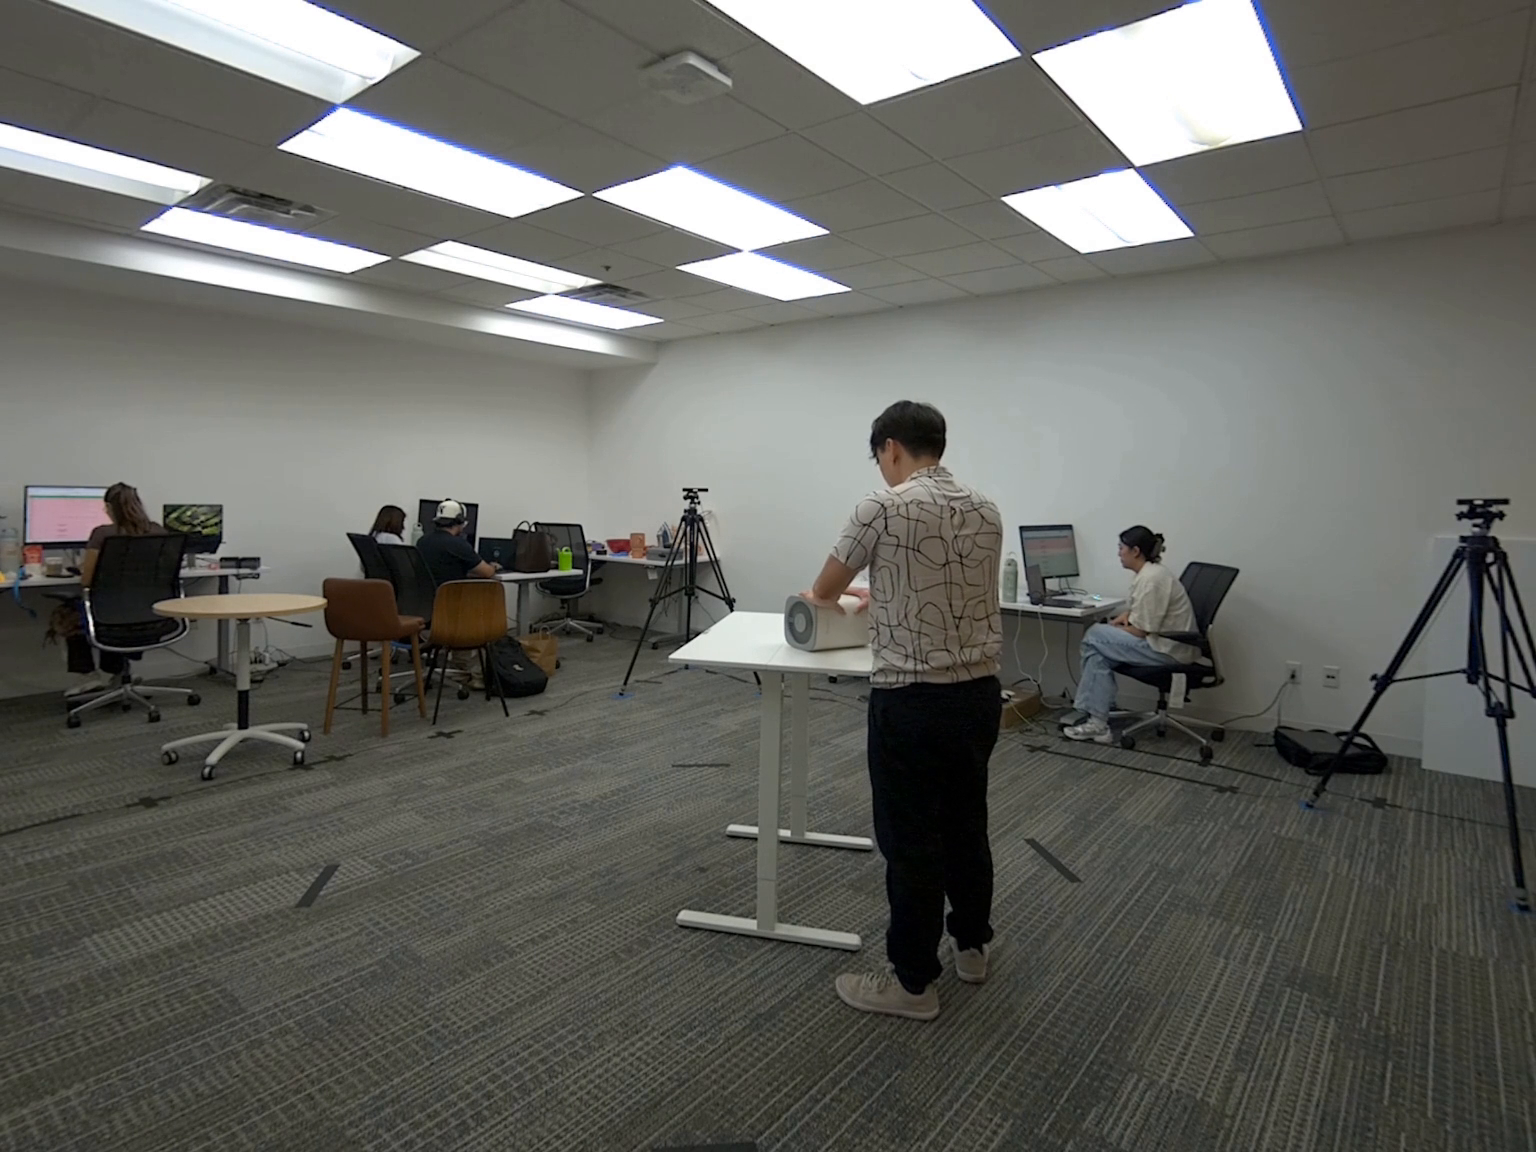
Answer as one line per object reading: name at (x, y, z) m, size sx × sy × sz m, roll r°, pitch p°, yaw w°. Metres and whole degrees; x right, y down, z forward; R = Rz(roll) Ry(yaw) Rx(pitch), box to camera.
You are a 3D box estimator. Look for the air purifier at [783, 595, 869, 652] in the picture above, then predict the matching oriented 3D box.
air purifier at (0.204, 0.141, 2.787) m, size 0.258 × 0.170 × 0.177 m, roll -2°, pitch 6°, yaw -32°
